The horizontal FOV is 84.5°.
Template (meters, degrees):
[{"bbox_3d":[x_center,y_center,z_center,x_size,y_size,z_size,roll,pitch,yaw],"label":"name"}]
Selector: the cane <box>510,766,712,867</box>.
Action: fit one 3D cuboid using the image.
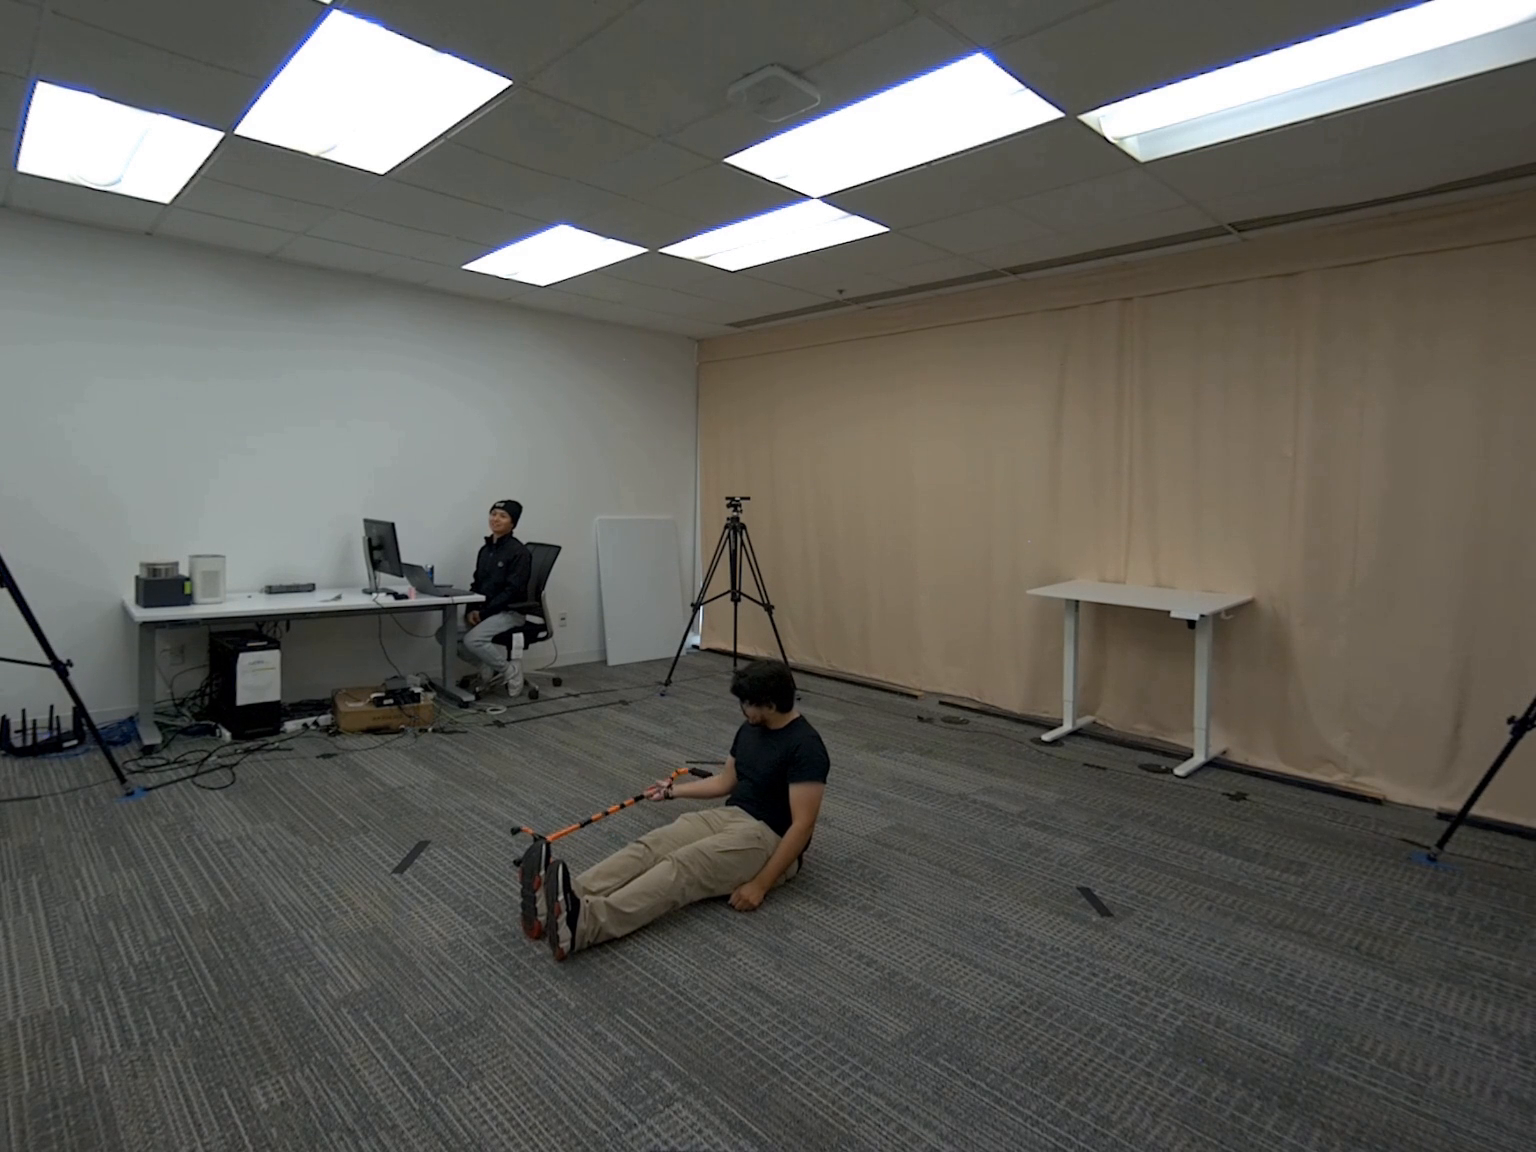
[{"bbox_3d":[-0.598,0.937,3.410,0.212,0.150,0.891,5,12,40],"label":"cane"}]
